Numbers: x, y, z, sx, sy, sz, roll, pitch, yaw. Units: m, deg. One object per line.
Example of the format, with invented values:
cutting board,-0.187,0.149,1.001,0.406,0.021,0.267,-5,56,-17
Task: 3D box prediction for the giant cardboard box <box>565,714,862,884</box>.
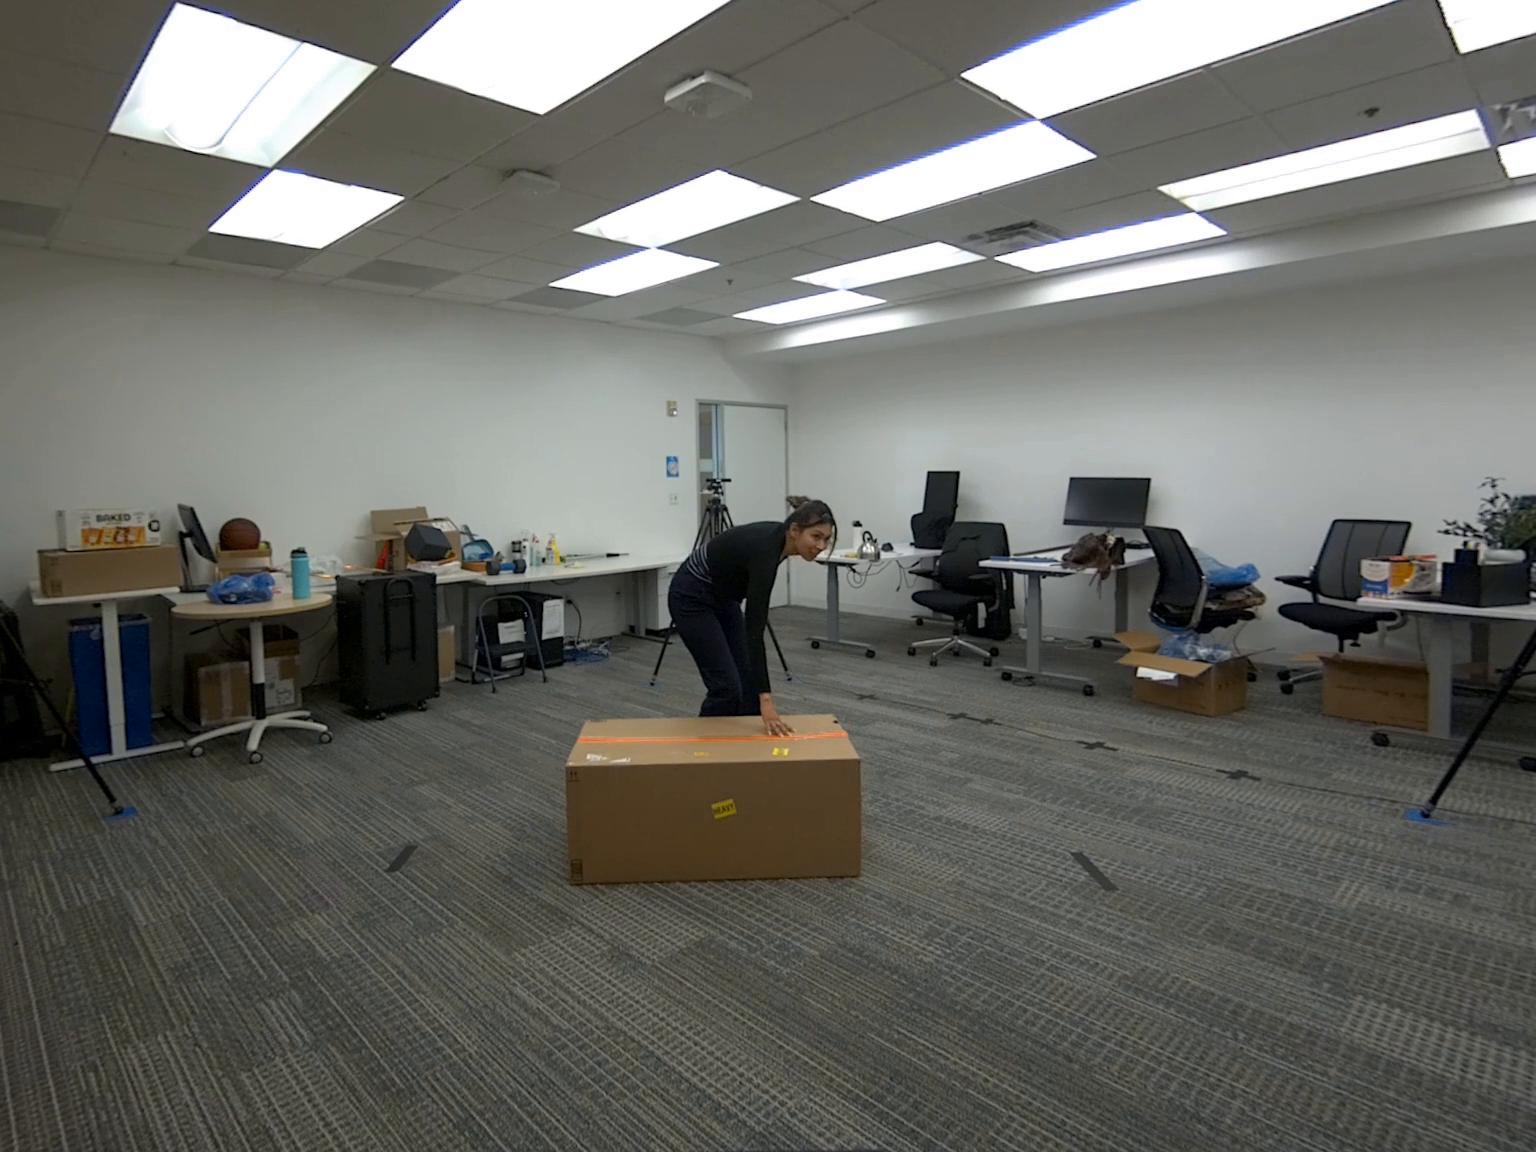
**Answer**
giant cardboard box,-0.210,0.817,3.242,1.024,0.424,0.581,-1,6,-2
